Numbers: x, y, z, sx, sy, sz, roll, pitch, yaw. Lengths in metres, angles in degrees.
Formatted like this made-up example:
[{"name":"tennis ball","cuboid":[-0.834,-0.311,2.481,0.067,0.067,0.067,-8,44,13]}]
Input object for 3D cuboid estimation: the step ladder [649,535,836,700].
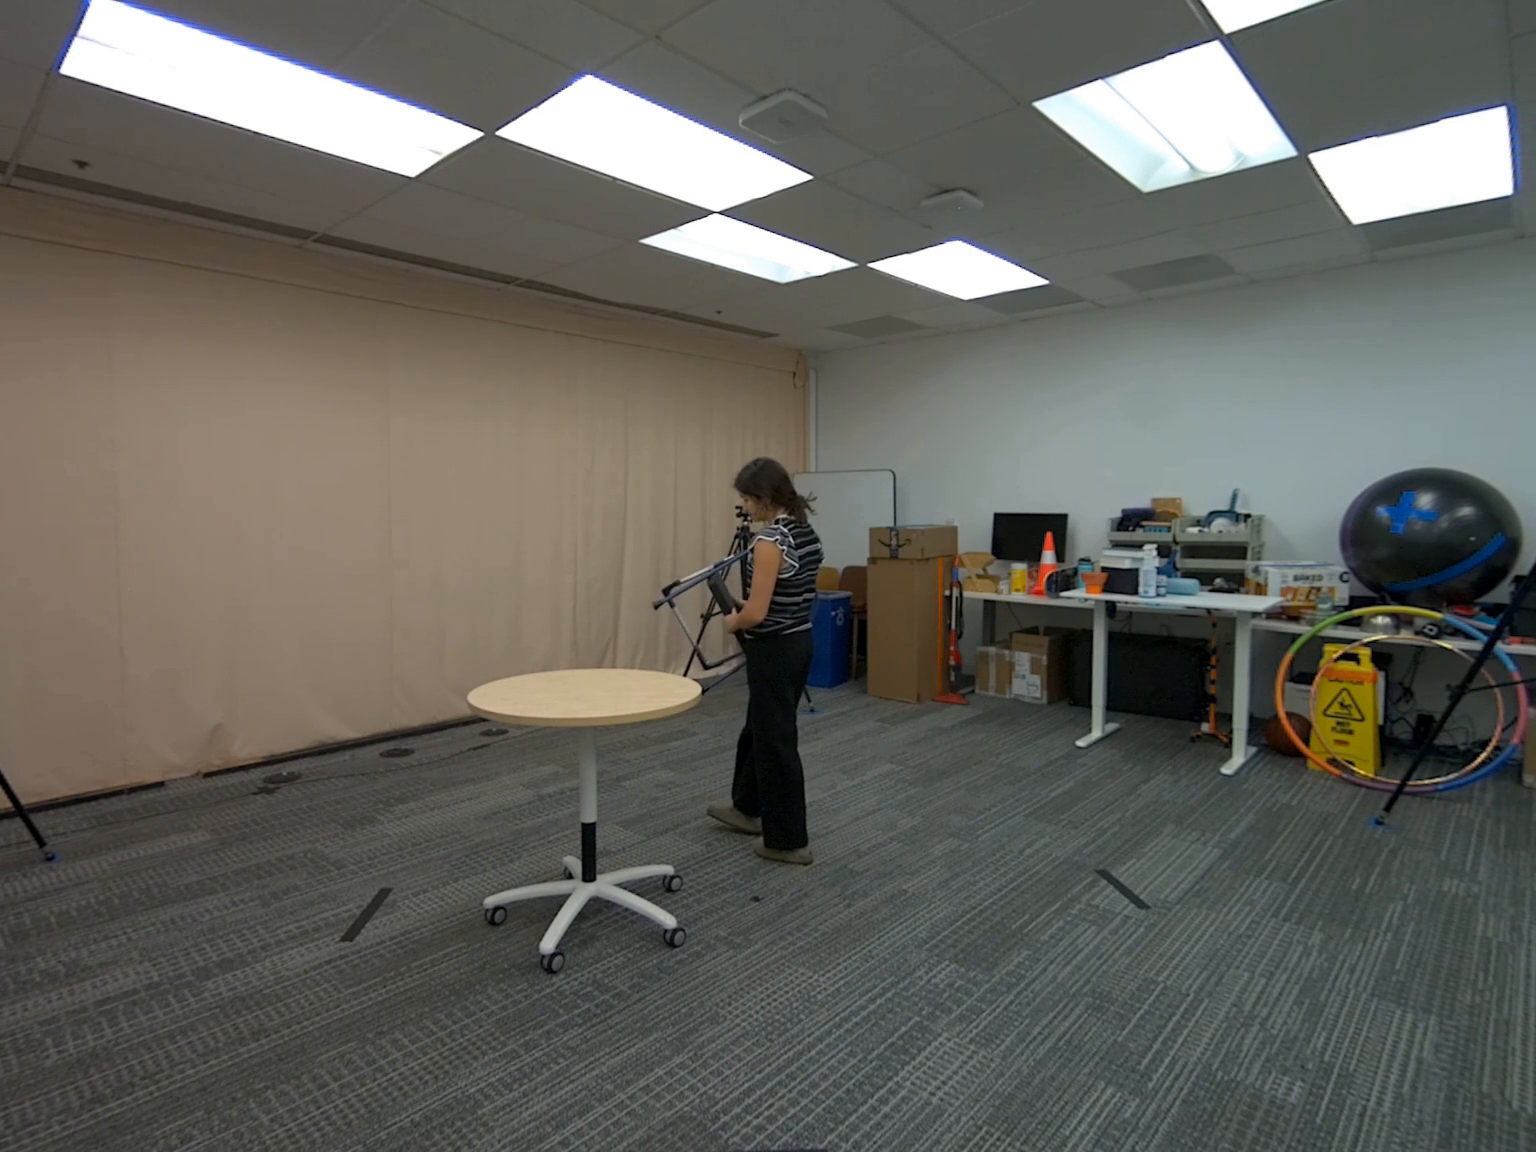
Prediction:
[{"name":"step ladder","cuboid":[-0.114,0.132,3.514,0.607,0.426,0.352,-28,10,3]}]
